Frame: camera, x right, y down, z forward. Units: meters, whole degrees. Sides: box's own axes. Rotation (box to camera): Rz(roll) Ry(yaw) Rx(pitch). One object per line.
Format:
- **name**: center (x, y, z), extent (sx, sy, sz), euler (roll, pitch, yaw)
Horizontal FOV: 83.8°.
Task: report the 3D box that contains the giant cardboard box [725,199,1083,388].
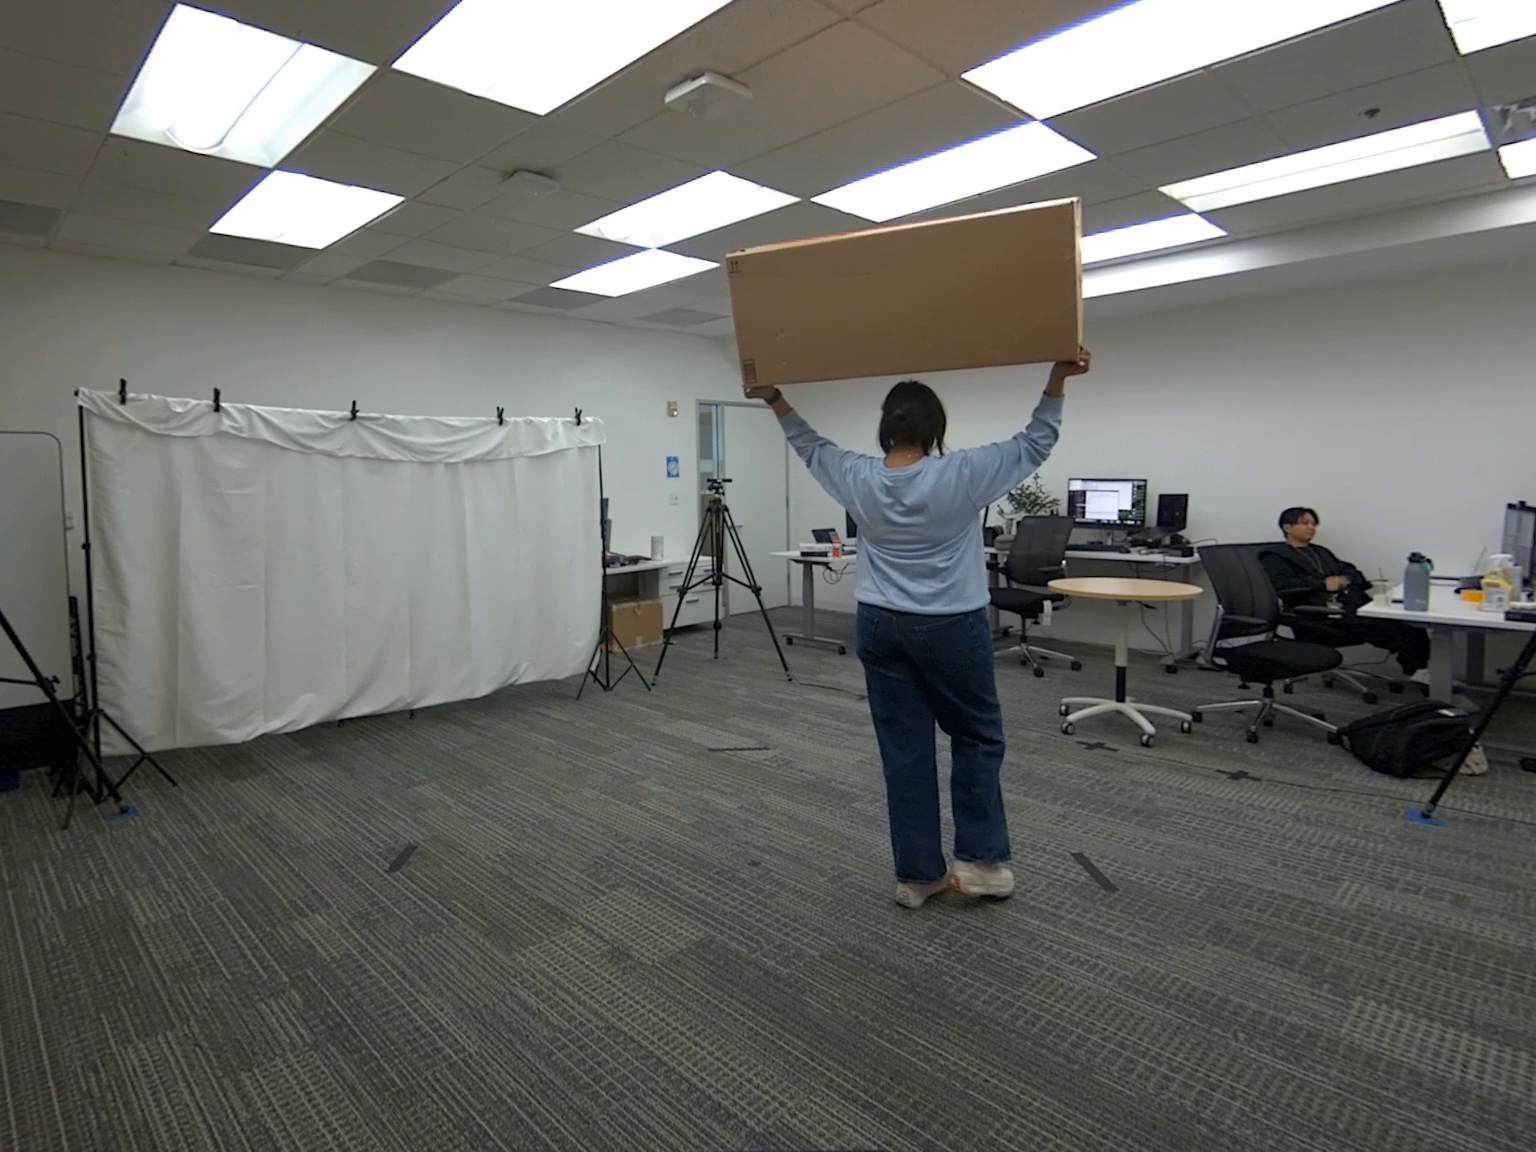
- **giant cardboard box**: center (0.466, -0.909, 2.775), extent (1.049, 0.418, 0.576), euler (0, 22, 24)
